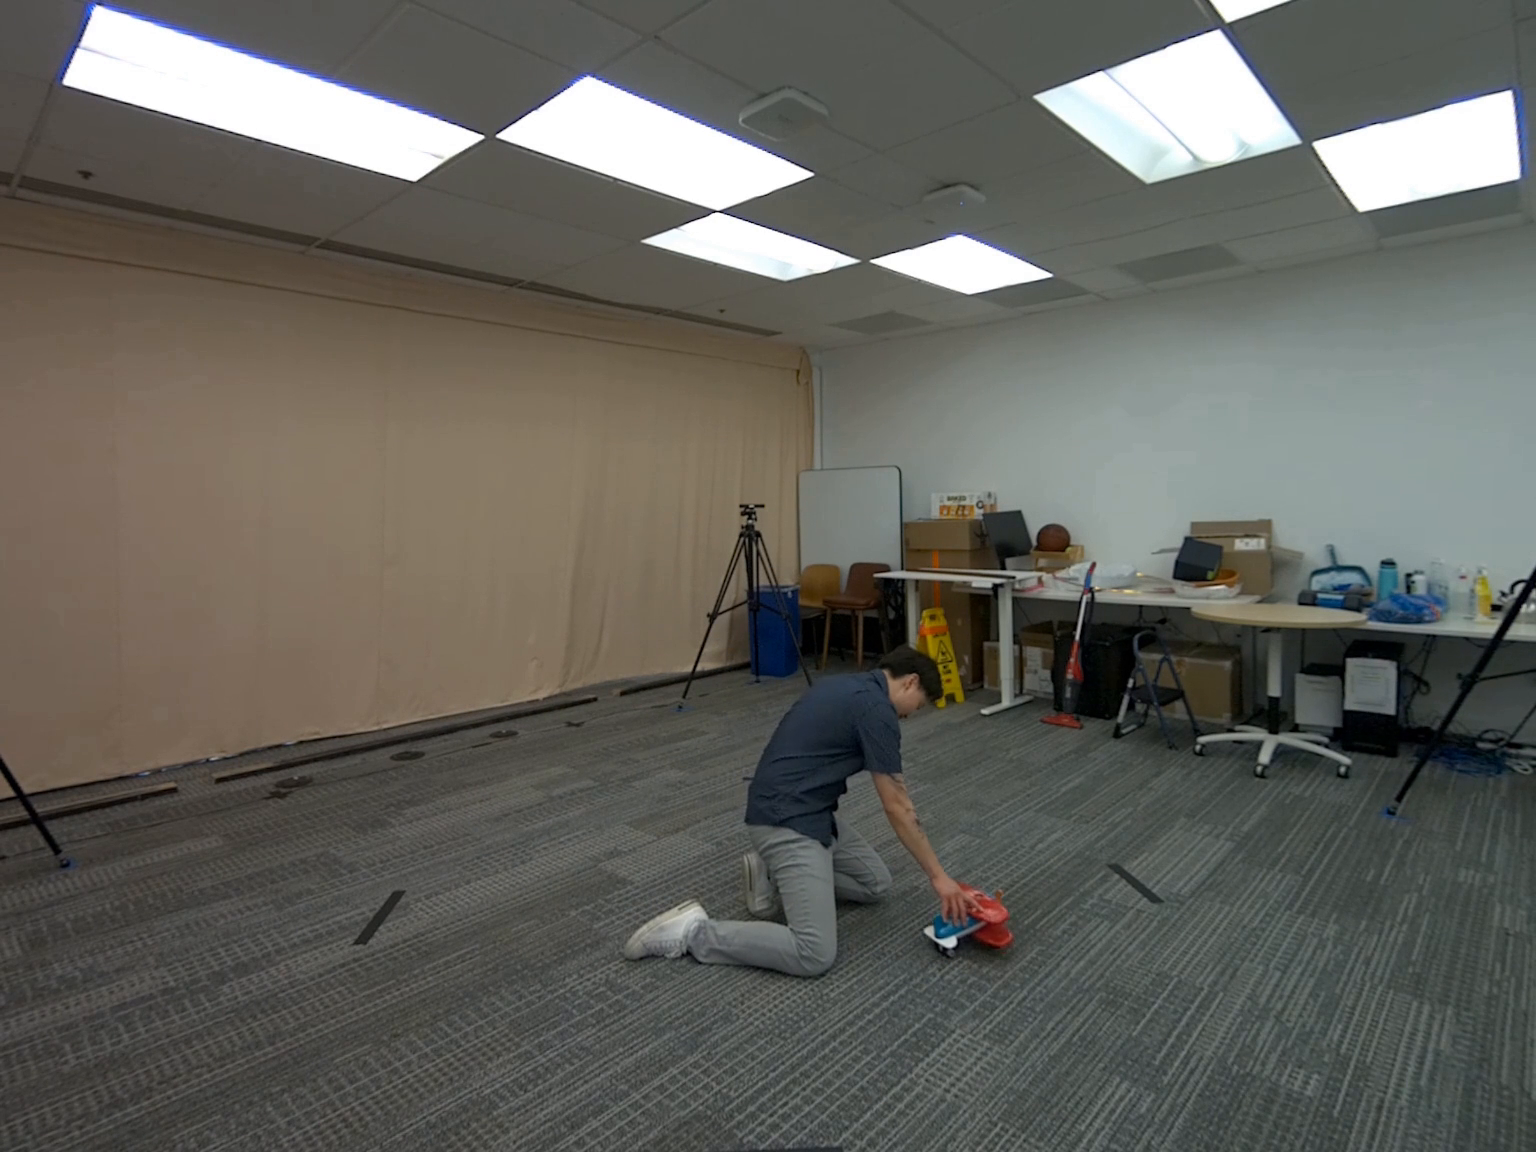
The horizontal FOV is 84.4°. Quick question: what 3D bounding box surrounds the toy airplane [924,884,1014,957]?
[{"bbox_3d":[0.638,1.087,2.612,0.259,0.156,0.252,3,4,34],"label":"toy airplane"}]
